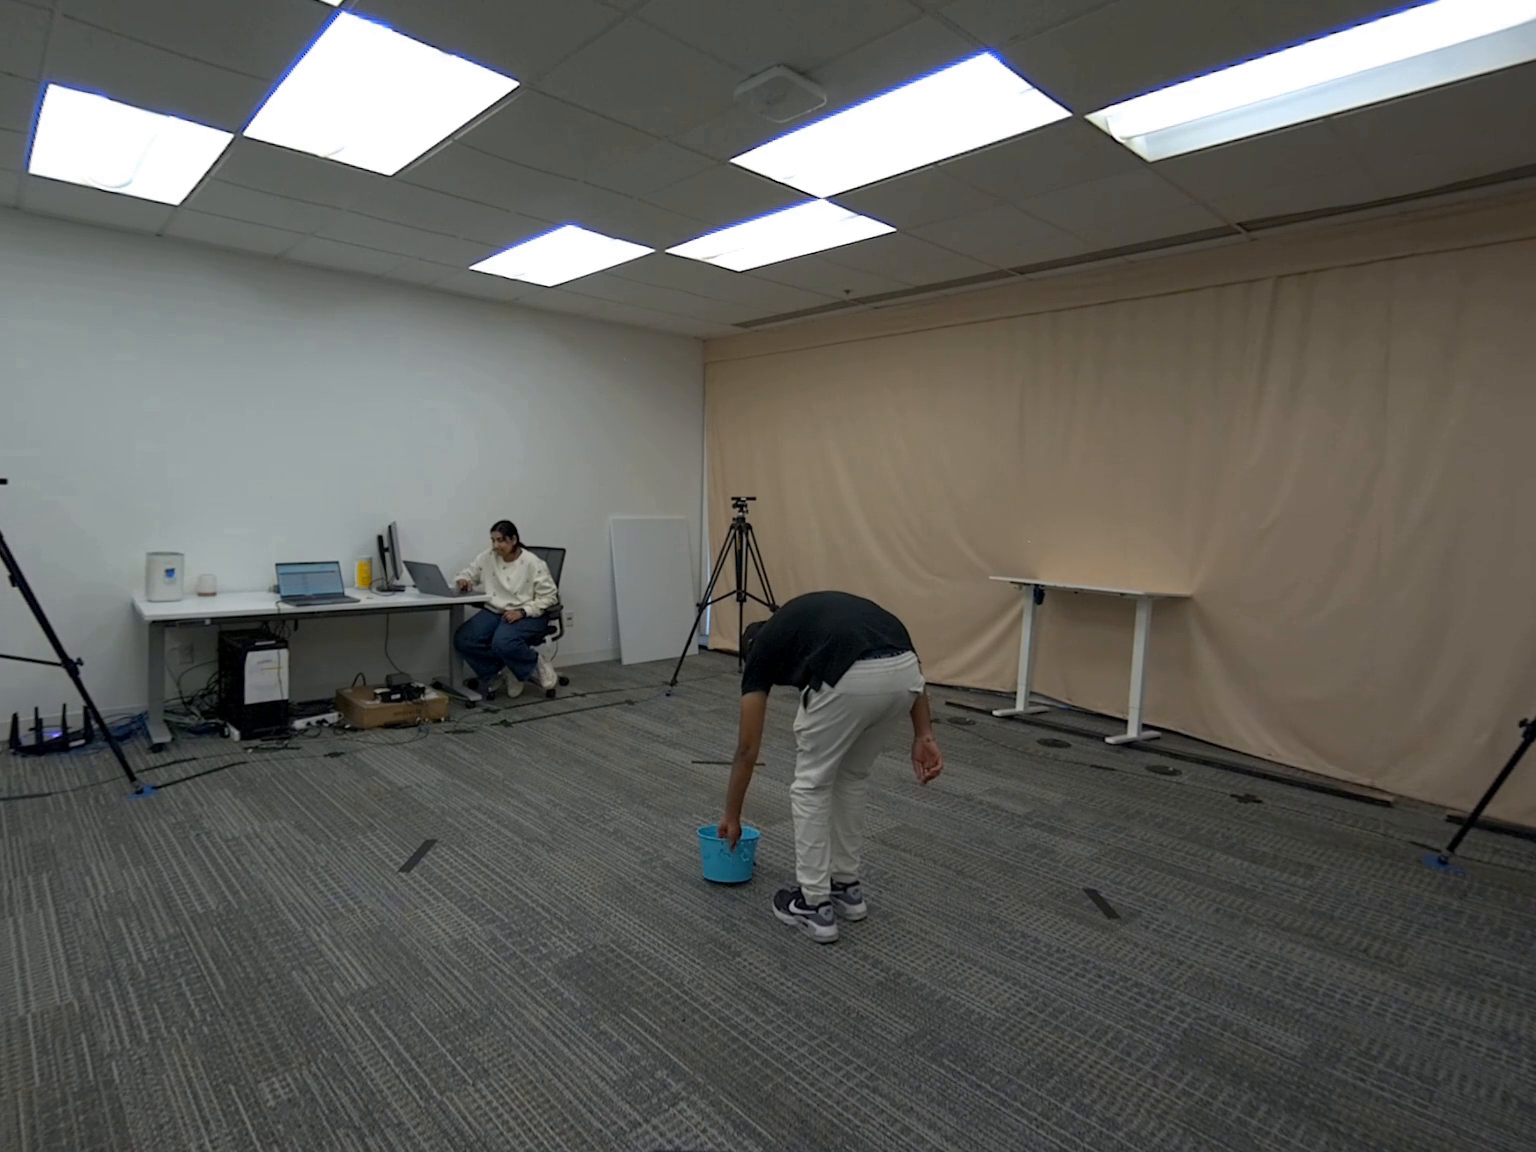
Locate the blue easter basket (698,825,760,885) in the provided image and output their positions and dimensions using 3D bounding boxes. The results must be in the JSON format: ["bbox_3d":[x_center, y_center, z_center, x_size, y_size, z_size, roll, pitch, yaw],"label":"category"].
[{"bbox_3d":[-0.152,1.019,3.081,0.243,0.156,0.243,2,-3,-1],"label":"blue easter basket"}]
